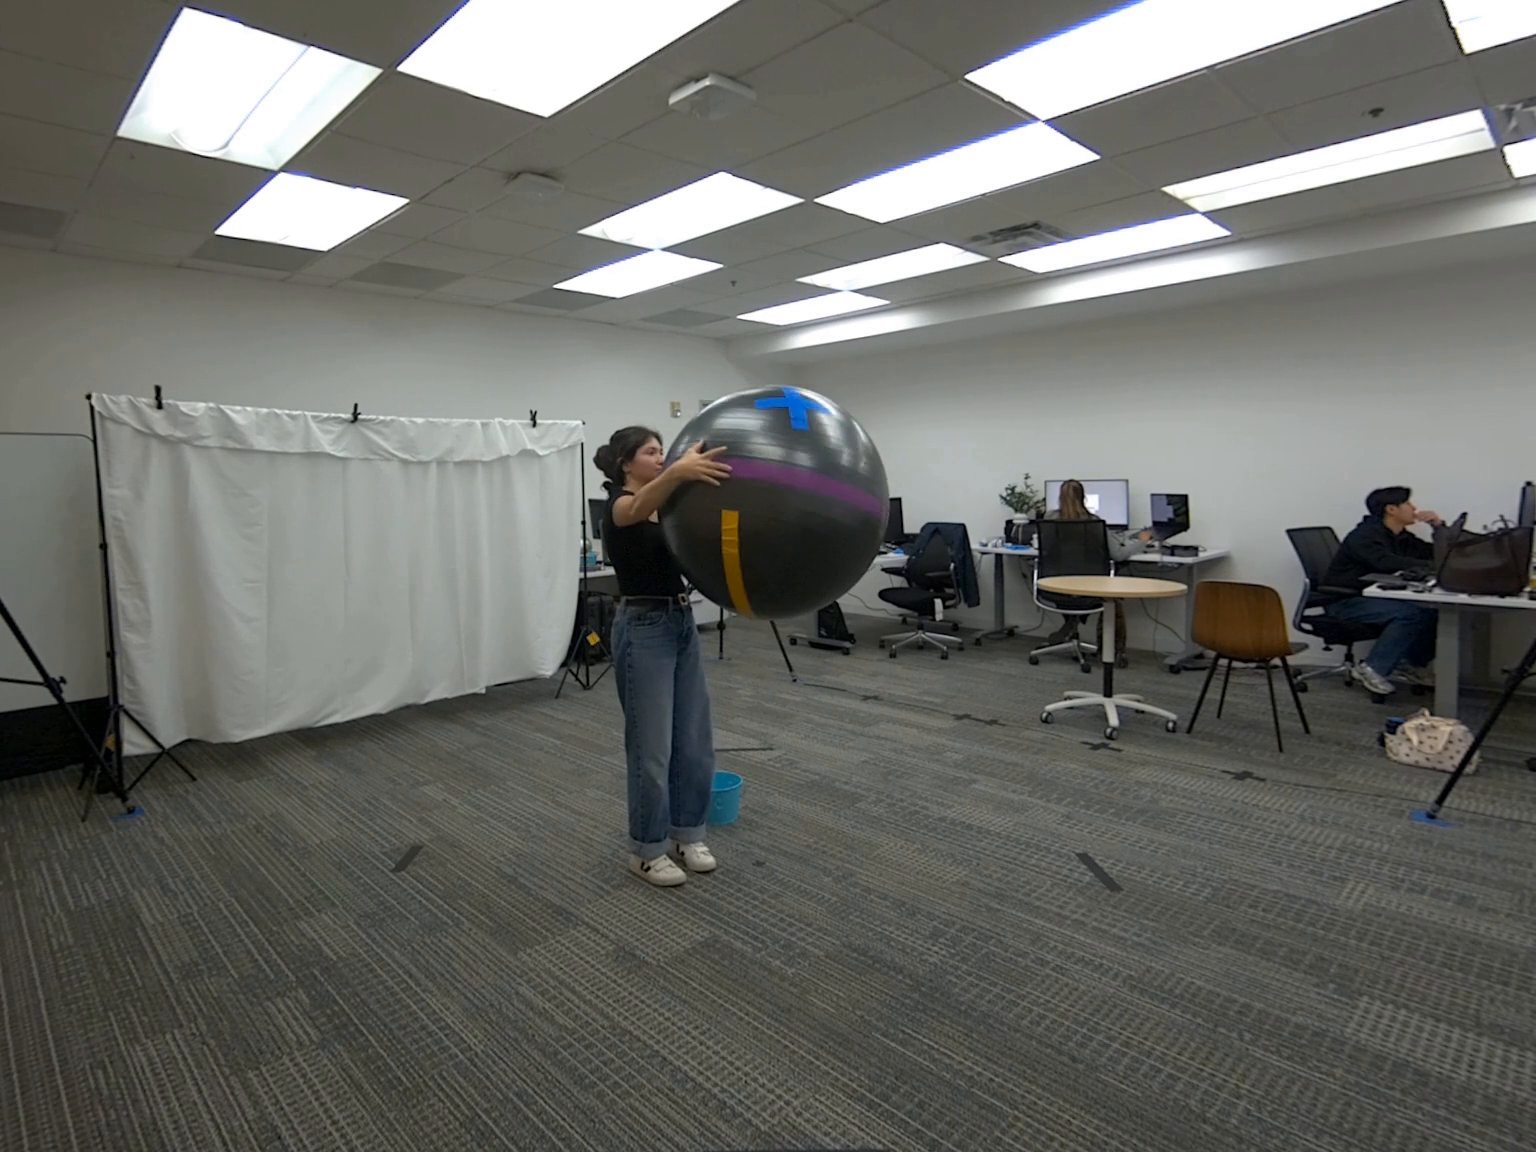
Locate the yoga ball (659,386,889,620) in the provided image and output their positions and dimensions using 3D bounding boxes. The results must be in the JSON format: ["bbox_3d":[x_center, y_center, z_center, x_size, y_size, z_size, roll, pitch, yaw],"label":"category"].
[{"bbox_3d":[0.018,-0.239,2.791,0.757,0.755,0.762,-1,5,-2],"label":"yoga ball"}]
